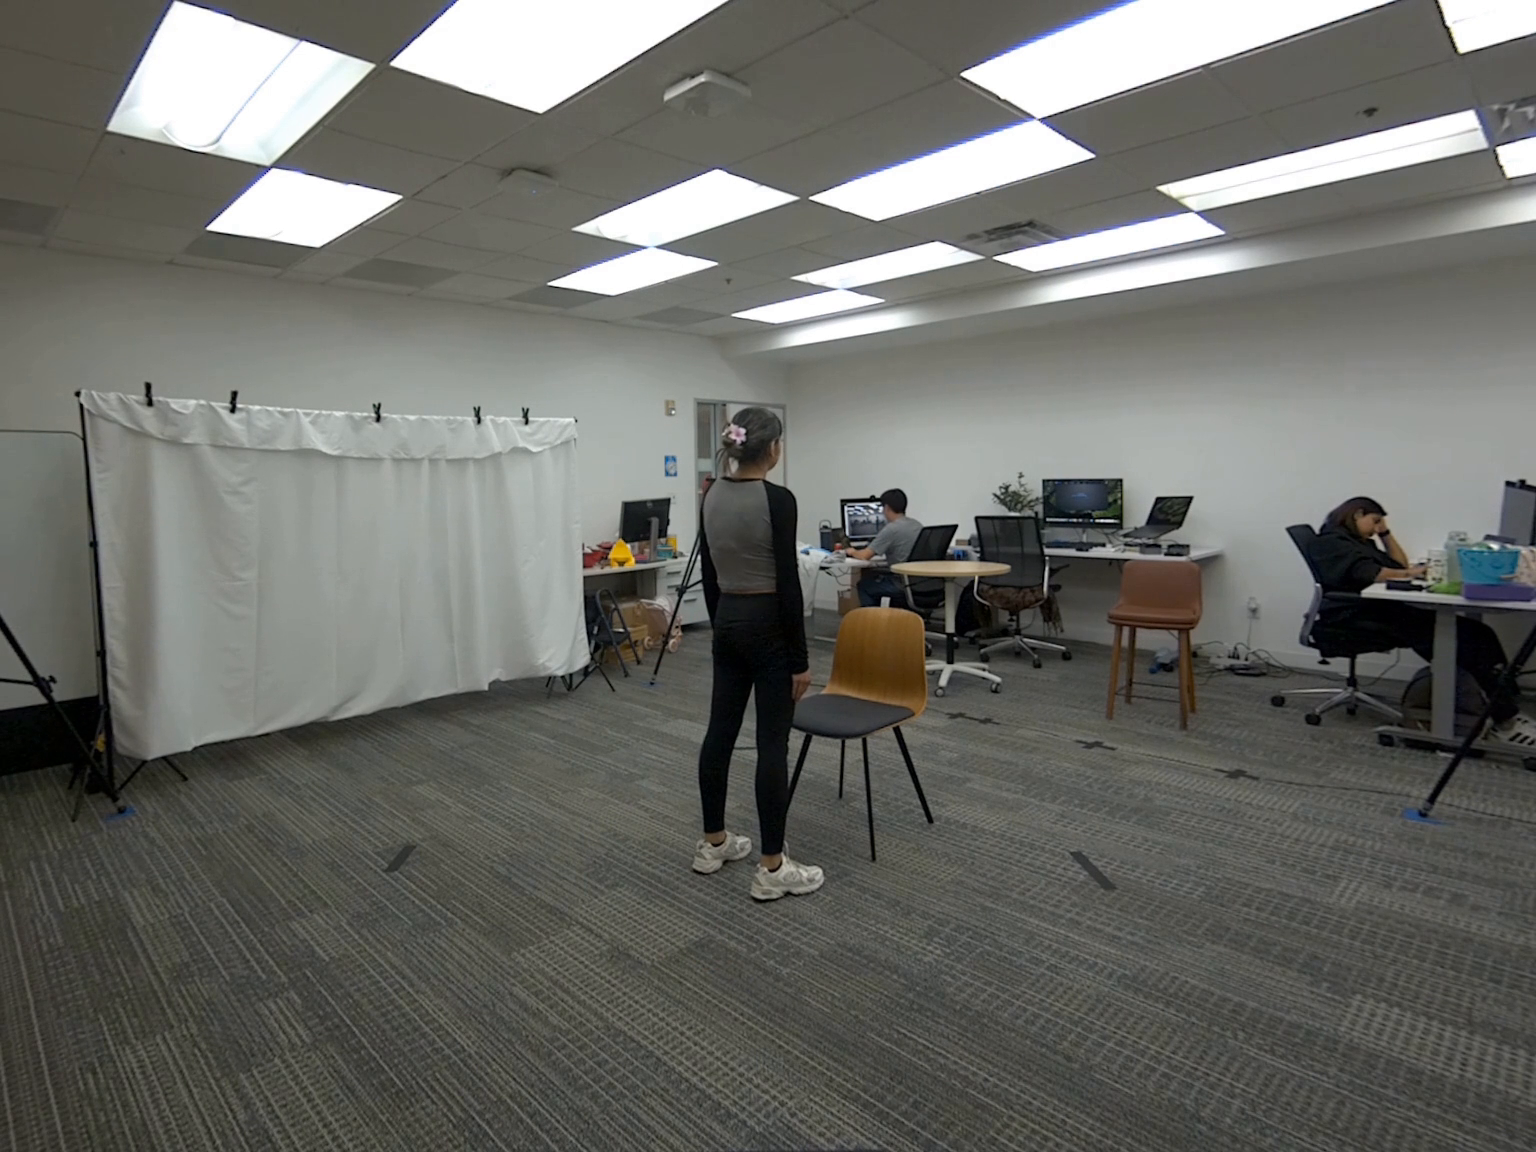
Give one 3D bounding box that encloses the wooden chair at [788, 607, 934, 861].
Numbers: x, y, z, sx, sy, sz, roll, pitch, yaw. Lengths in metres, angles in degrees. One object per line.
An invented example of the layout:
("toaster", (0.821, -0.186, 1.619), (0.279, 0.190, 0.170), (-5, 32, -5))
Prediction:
("wooden chair", (0.339, 0.576, 3.377), (0.492, 0.877, 0.508), (3, 1, 40))
